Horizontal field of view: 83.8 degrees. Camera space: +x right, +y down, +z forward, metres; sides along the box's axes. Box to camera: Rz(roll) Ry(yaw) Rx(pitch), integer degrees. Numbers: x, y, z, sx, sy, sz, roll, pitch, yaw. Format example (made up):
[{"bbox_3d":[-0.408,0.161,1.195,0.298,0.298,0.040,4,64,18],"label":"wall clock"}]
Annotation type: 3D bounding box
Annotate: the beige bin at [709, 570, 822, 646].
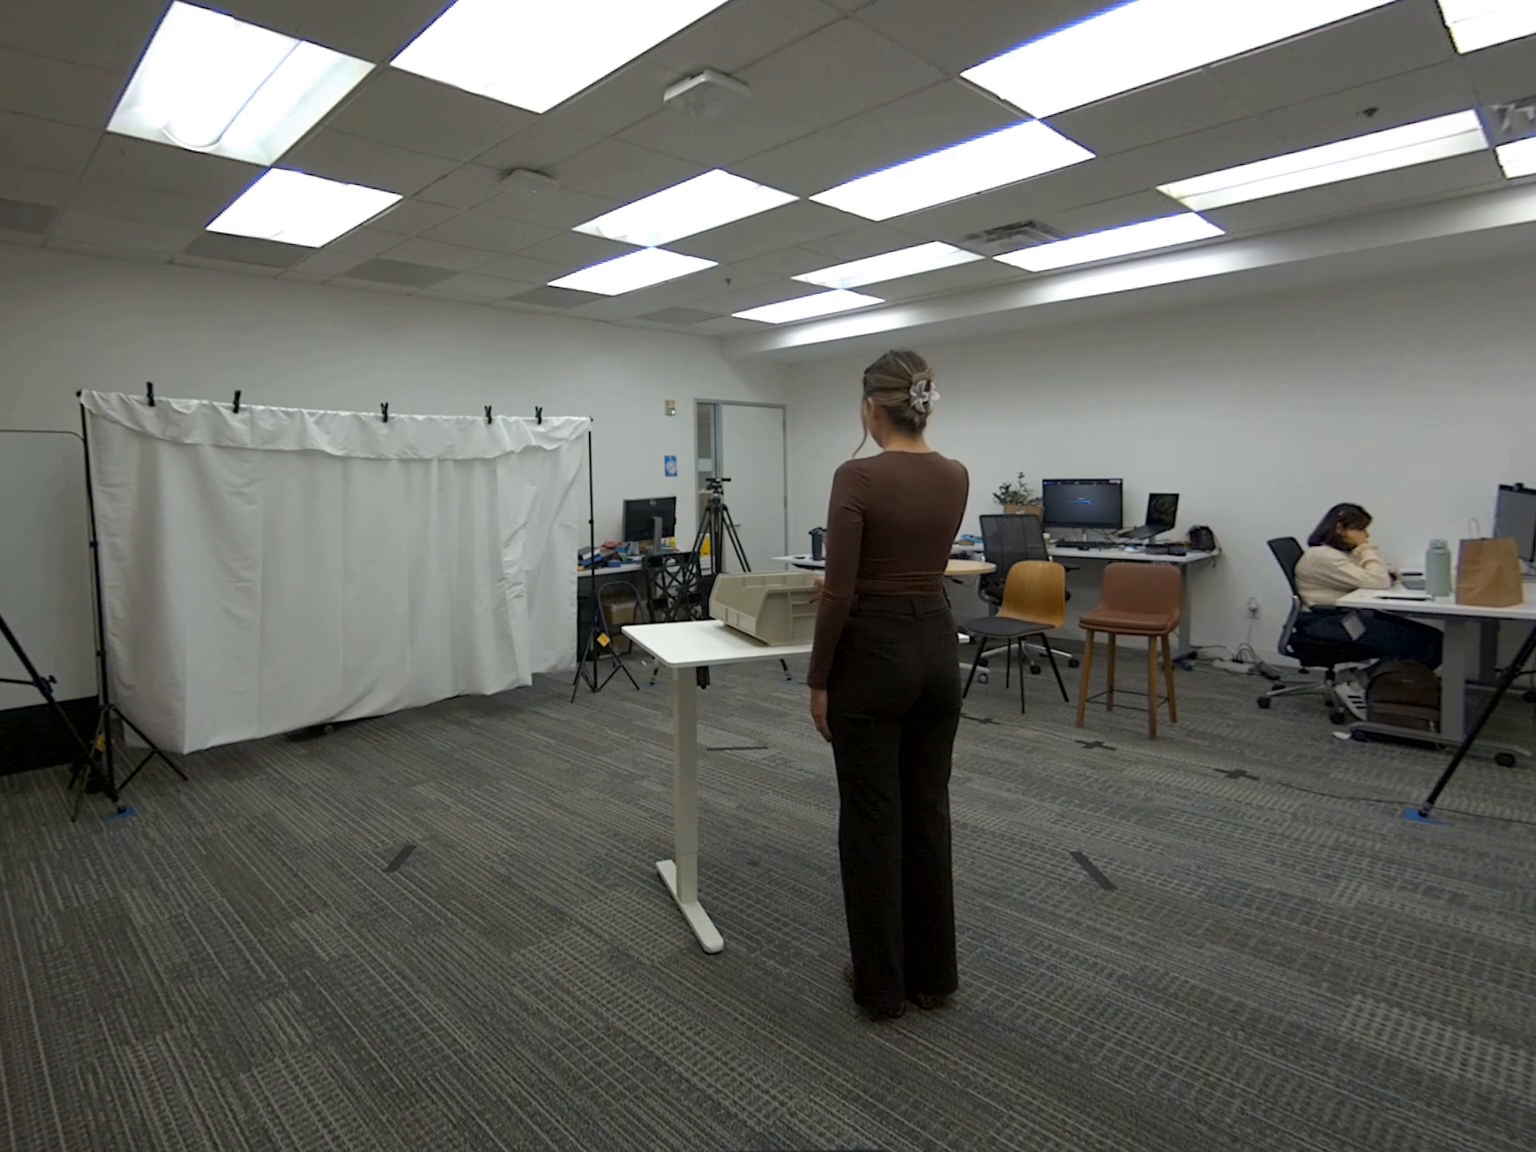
[{"bbox_3d":[0.052,0.102,2.824,0.370,0.188,0.432,-2,6,-23],"label":"beige bin"}]
